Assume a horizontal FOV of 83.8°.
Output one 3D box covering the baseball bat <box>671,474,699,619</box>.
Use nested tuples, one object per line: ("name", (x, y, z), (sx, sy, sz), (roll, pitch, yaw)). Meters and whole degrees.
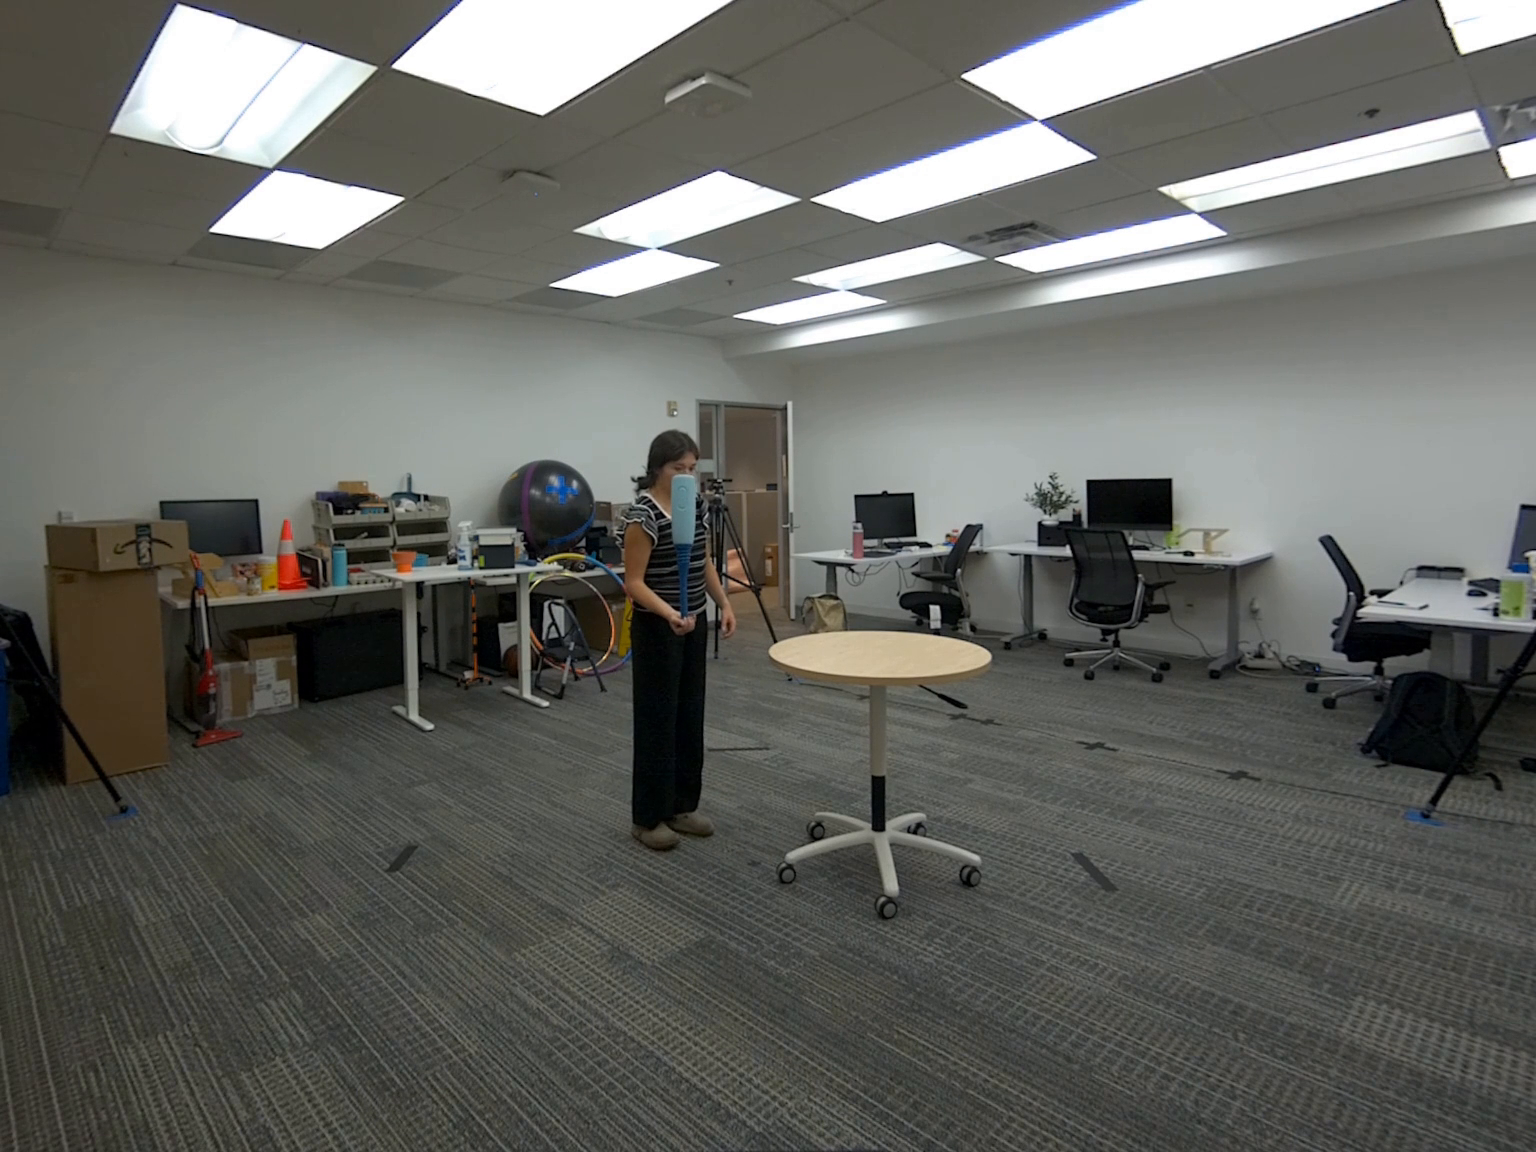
("baseball bat", (-0.305, -0.090, 3.071), (0.089, 0.545, 0.089), (-2, -3, -2))
